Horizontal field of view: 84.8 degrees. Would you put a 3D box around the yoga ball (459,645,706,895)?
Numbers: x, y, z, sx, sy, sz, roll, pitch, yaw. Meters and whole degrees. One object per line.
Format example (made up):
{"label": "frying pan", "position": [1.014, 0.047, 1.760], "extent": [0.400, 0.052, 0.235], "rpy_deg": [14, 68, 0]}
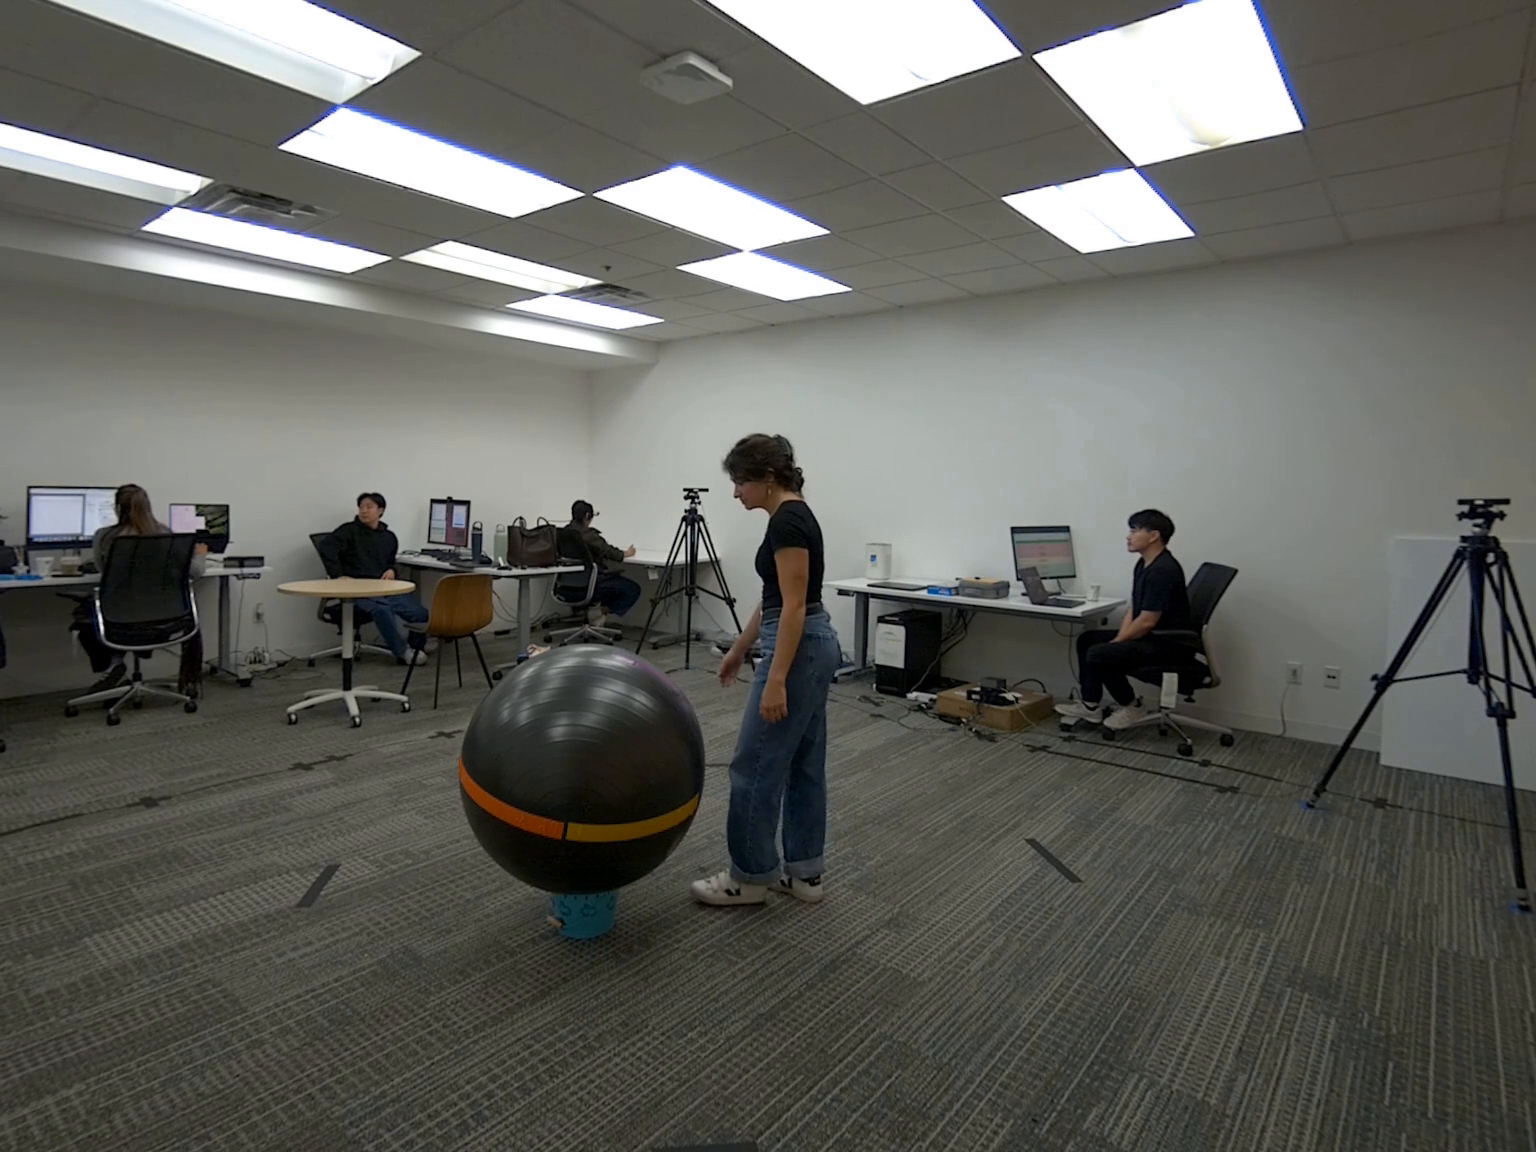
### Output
{"label": "yoga ball", "position": [-0.587, 0.594, 2.672], "extent": [0.757, 0.755, 0.762], "rpy_deg": [1, 4, -2]}
